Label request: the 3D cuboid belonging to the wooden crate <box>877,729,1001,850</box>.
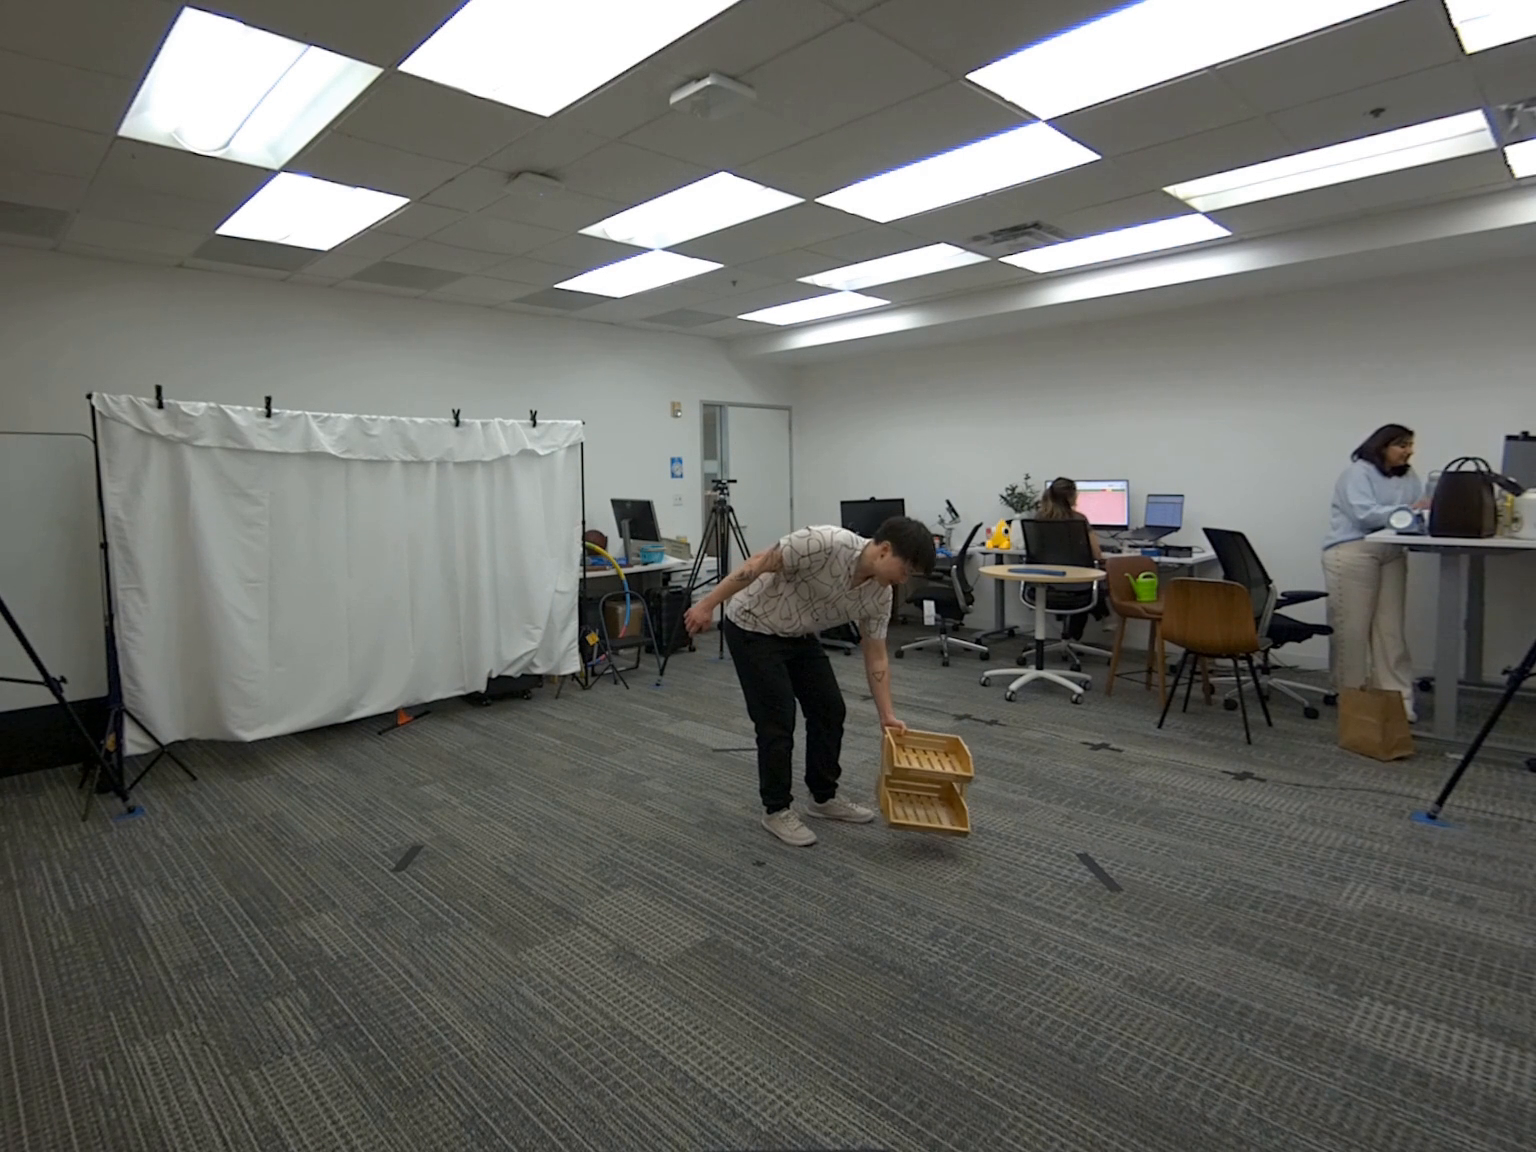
[{"bbox_3d":[0.621,0.785,3.186,0.322,0.270,0.307,7,17,-6],"label":"wooden crate"}]
